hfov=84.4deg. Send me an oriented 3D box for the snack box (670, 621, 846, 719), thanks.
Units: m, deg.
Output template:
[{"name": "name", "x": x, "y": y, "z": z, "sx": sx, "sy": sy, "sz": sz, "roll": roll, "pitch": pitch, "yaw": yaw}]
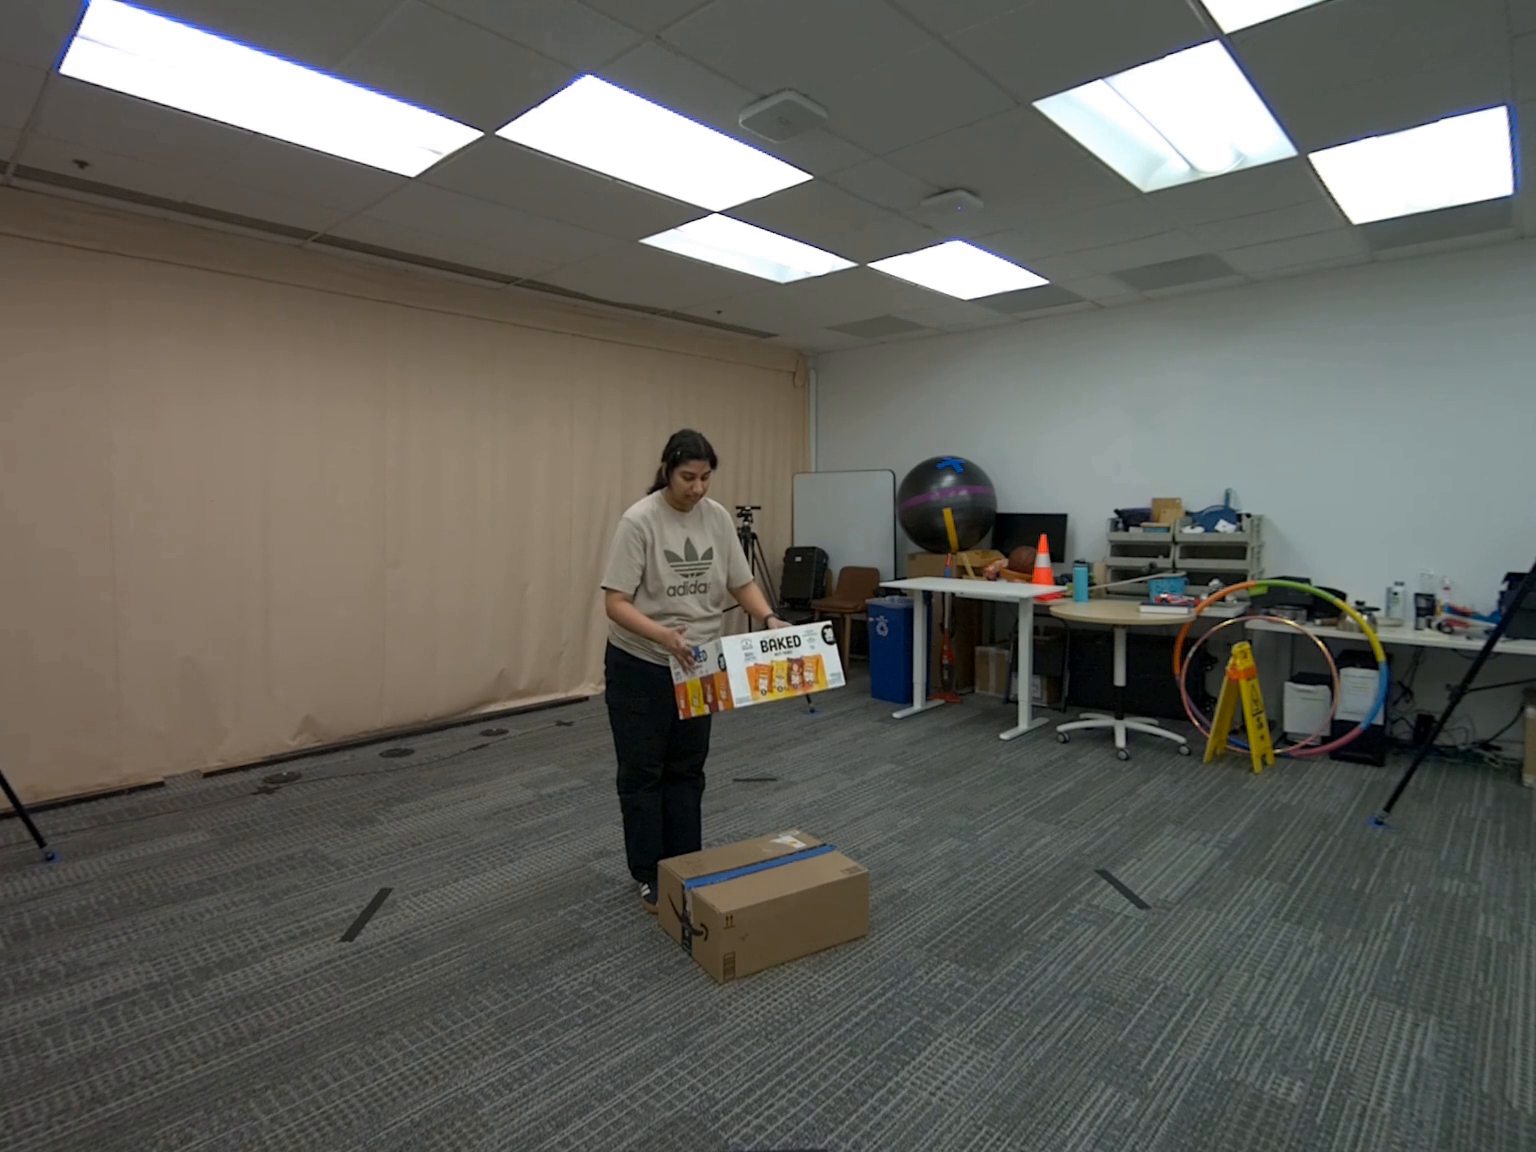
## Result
[{"name": "snack box", "x": -0.036, "y": 0.294, "z": 2.606, "sx": 0.394, "sy": 0.207, "sz": 0.347, "roll": -6, "pitch": -11, "yaw": -34}]
